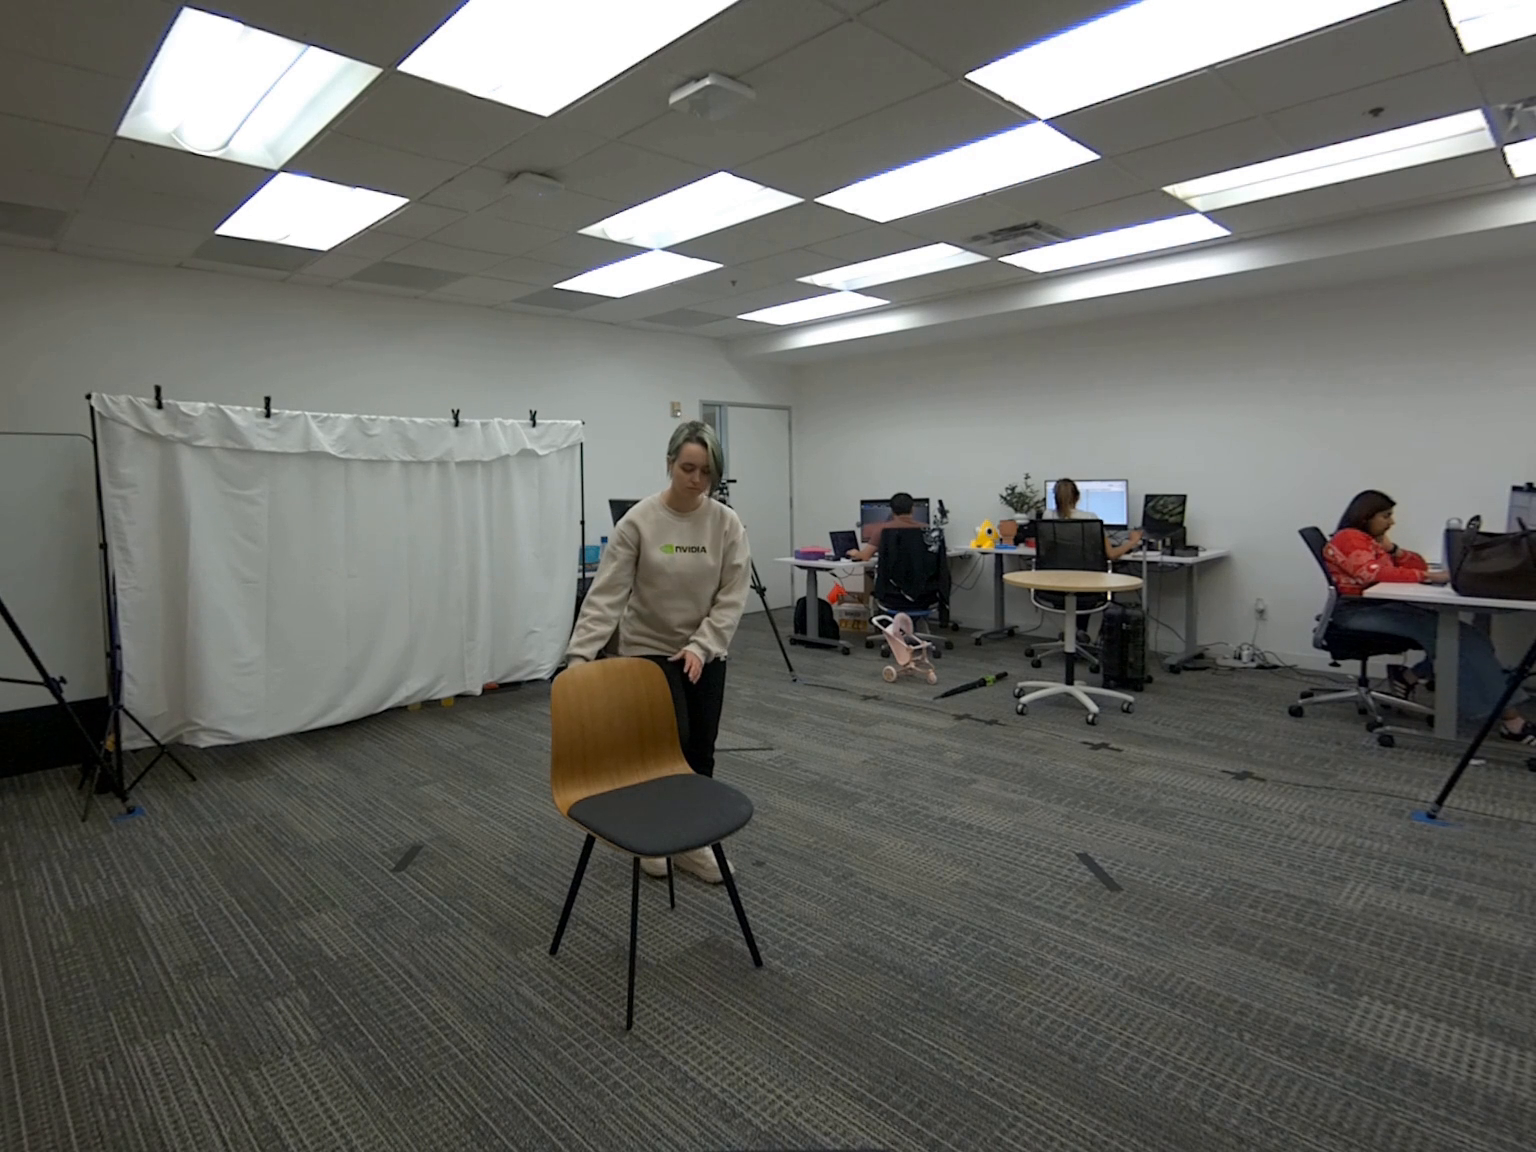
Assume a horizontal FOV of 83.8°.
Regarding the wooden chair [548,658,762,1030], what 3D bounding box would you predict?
[{"bbox_3d":[-0.337,0.706,2.454,0.466,0.877,0.537,-4,1,-39],"label":"wooden chair"}]
